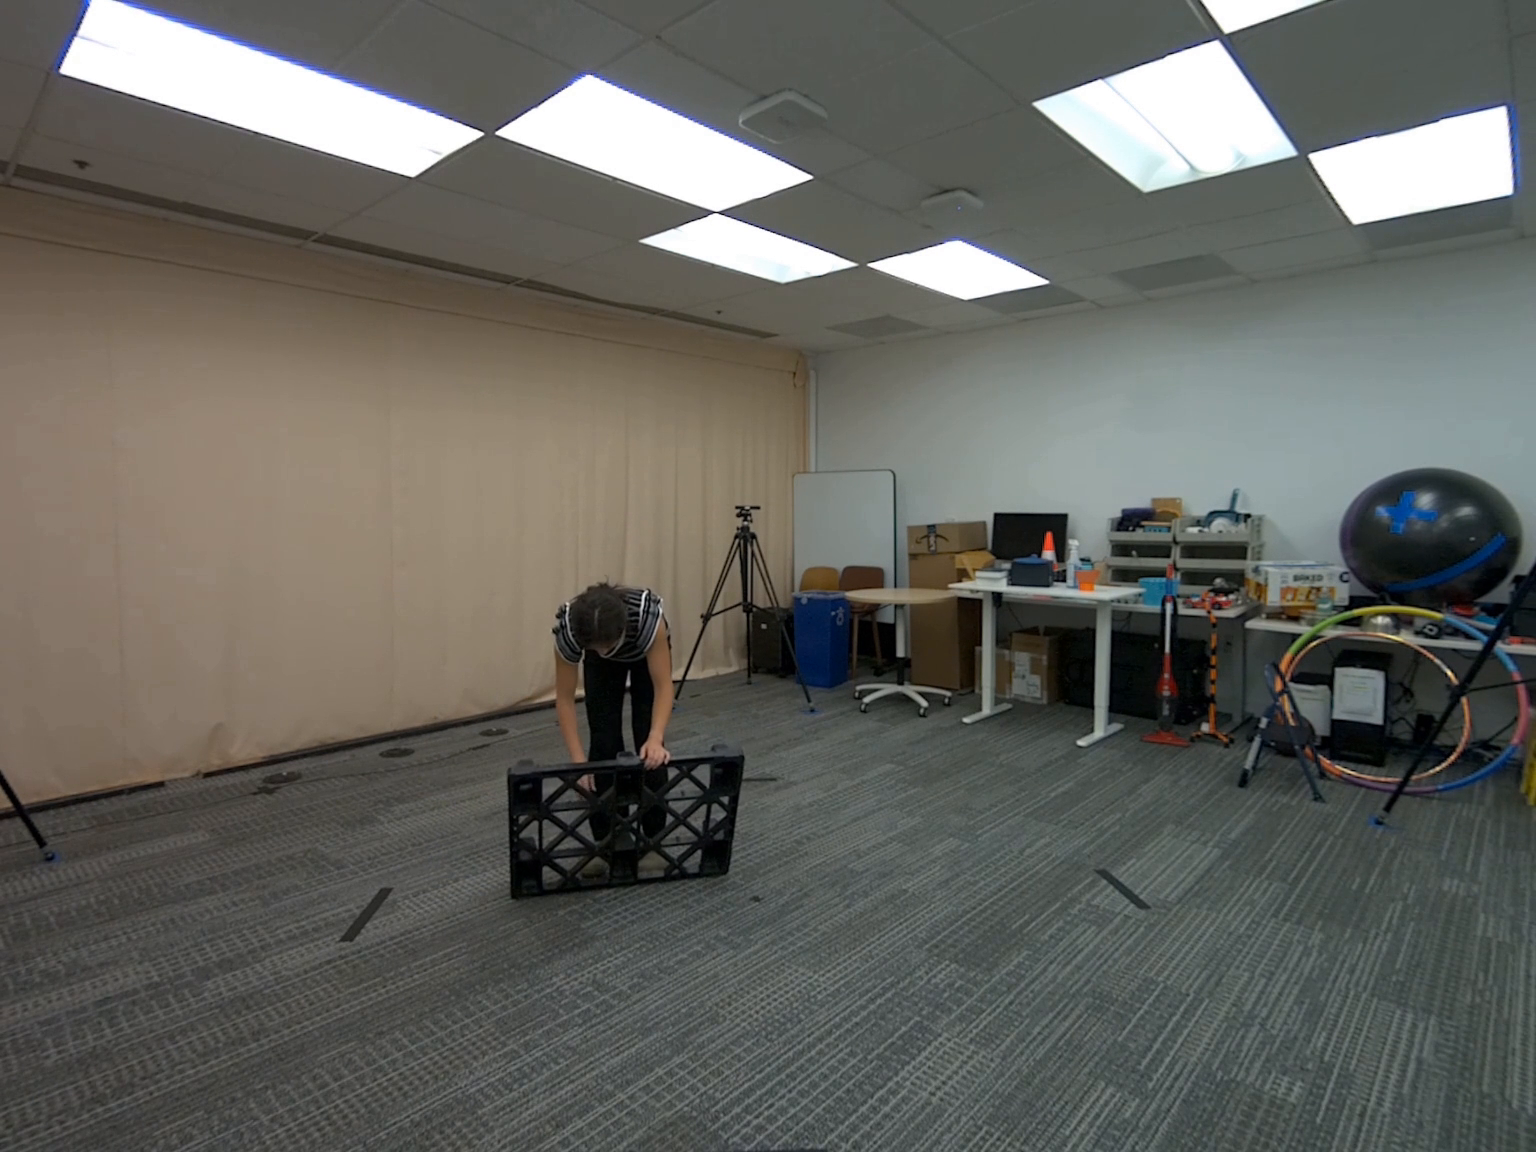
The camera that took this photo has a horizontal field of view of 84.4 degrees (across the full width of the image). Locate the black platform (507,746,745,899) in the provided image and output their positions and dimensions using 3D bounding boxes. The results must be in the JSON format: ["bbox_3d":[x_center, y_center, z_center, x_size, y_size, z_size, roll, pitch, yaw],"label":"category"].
[{"bbox_3d":[-0.511,0.845,2.989,0.793,0.598,0.147,0,29,-14],"label":"black platform"}]
